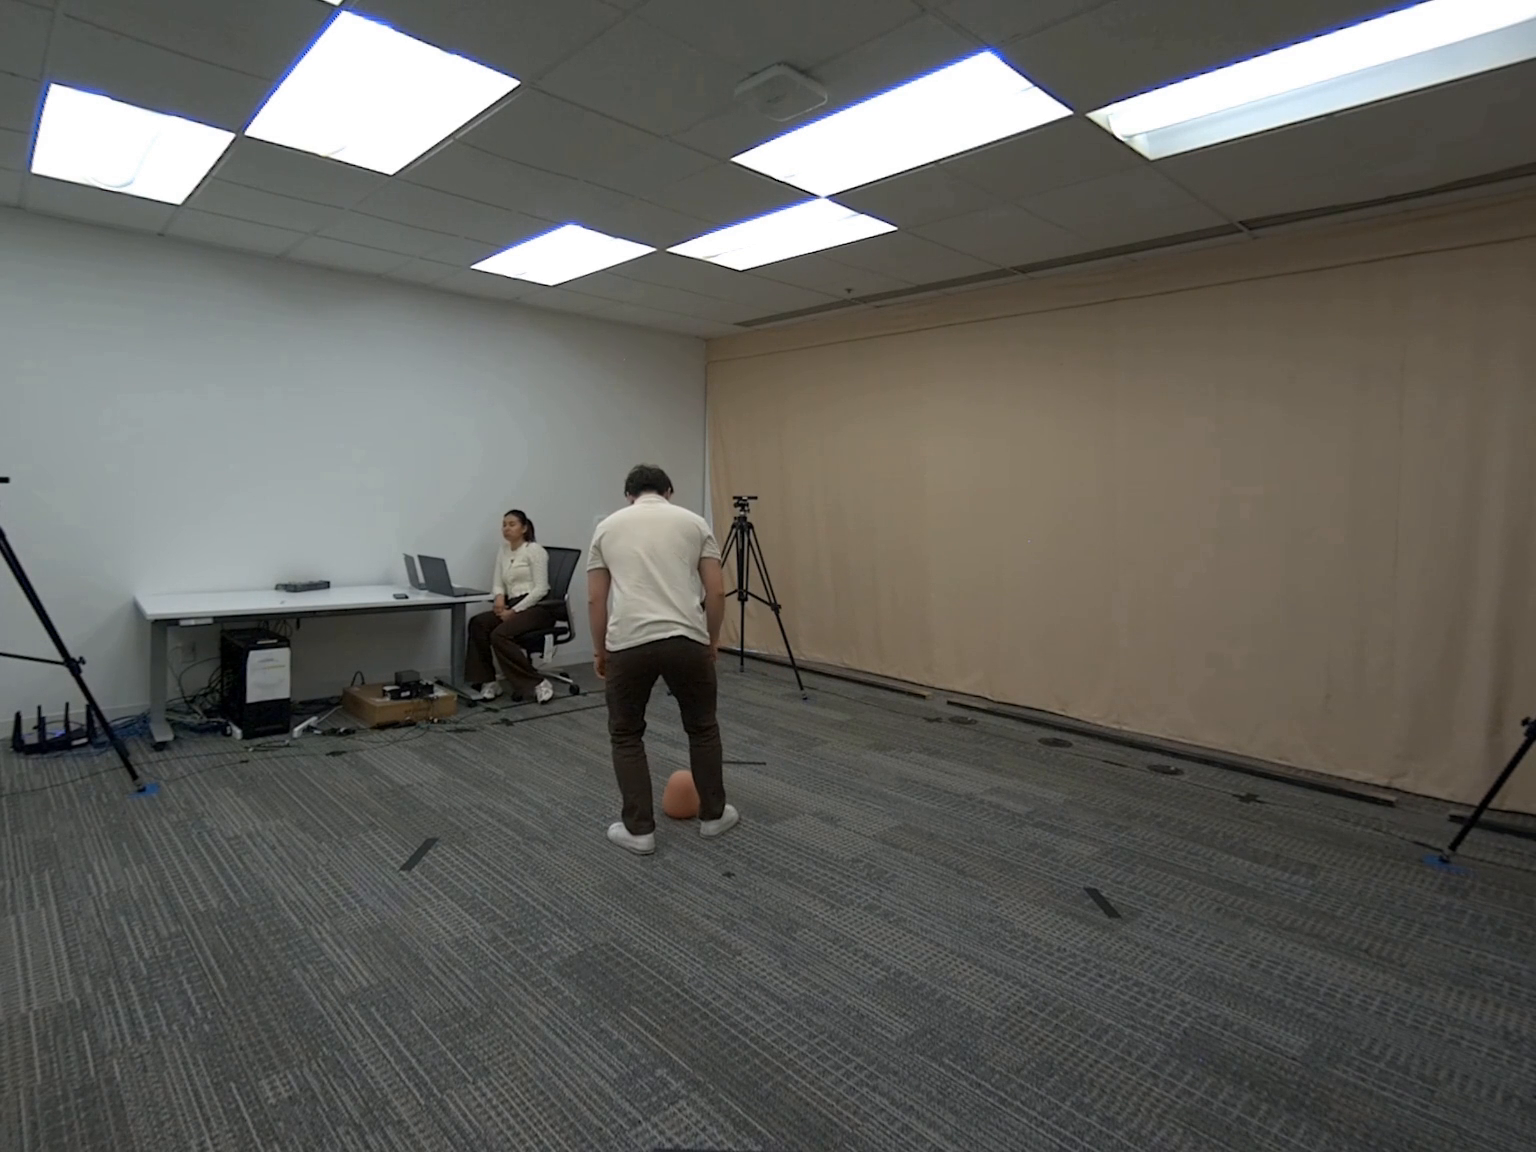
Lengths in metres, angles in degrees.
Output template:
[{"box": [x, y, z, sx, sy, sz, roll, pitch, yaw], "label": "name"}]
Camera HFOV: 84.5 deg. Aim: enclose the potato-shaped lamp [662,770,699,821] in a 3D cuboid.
[{"box": [-0.390, 0.949, 3.678, 0.162, 0.197, 0.175, 0, 7, -24], "label": "potato-shaped lamp"}]
